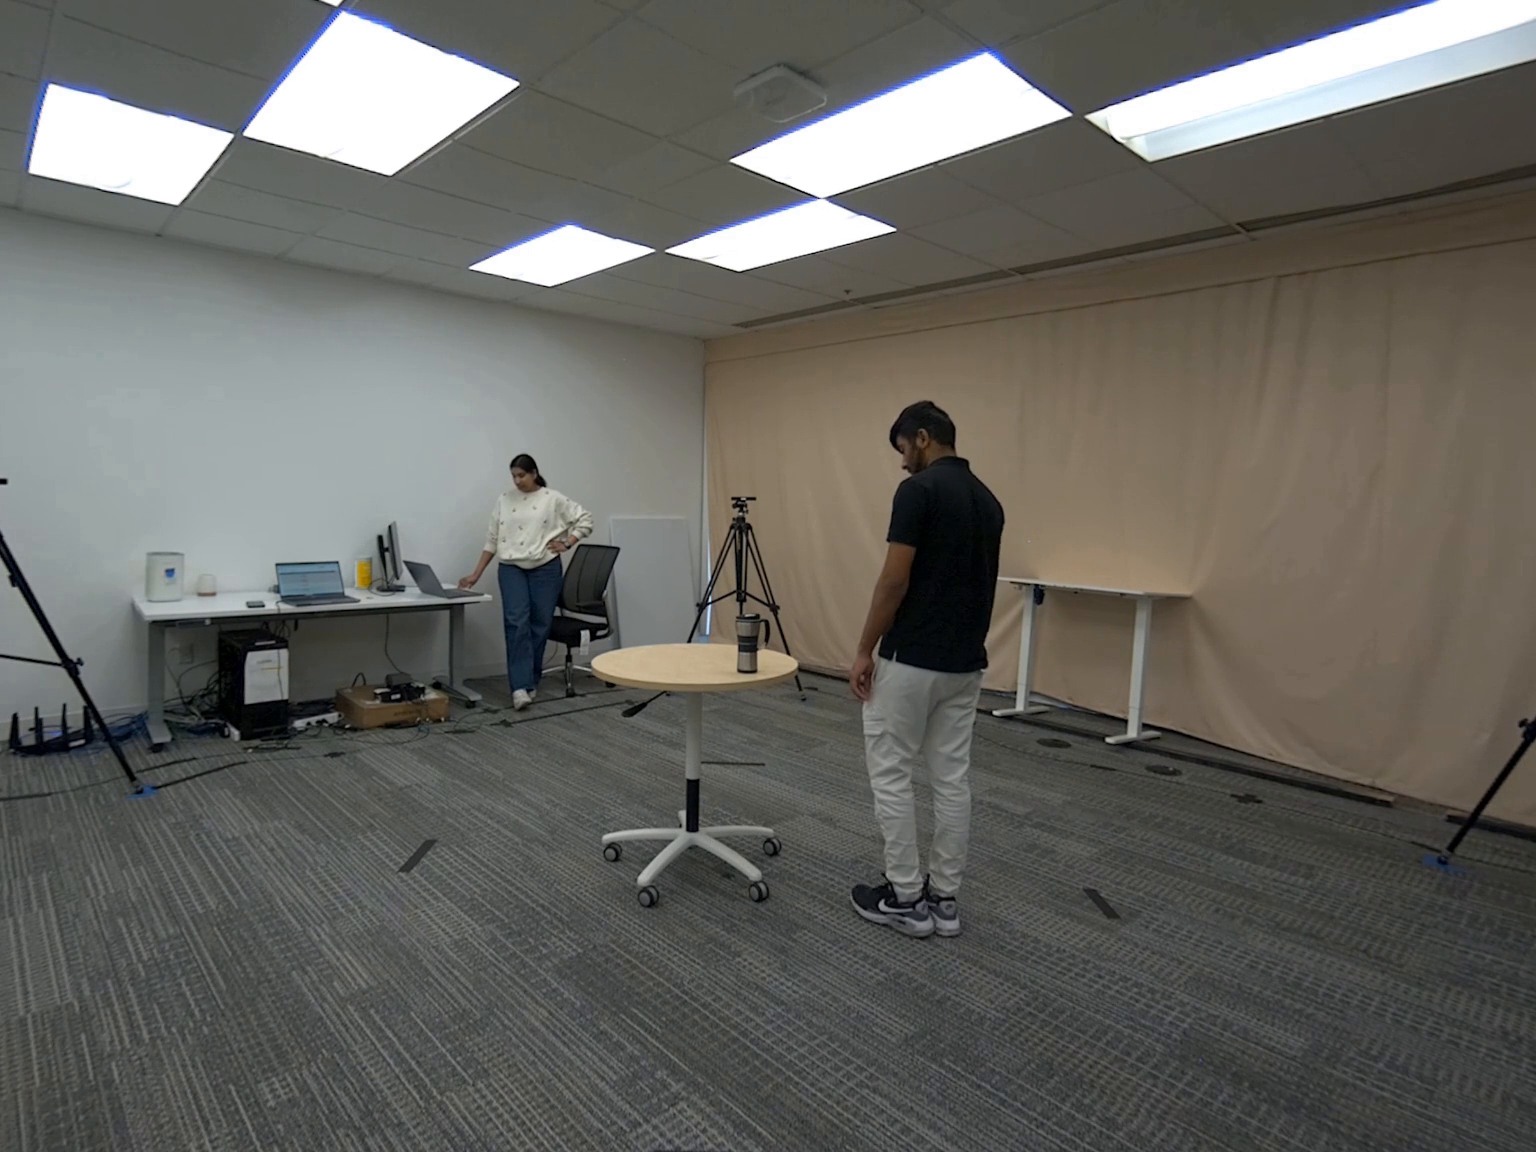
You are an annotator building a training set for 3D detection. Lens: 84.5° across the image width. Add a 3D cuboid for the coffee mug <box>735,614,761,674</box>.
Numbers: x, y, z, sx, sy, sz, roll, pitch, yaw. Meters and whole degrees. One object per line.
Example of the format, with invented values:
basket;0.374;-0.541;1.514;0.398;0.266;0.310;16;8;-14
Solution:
coffee mug;-0.057;0.241;2.931;0.086;0.203;0.125;2;2;-44
